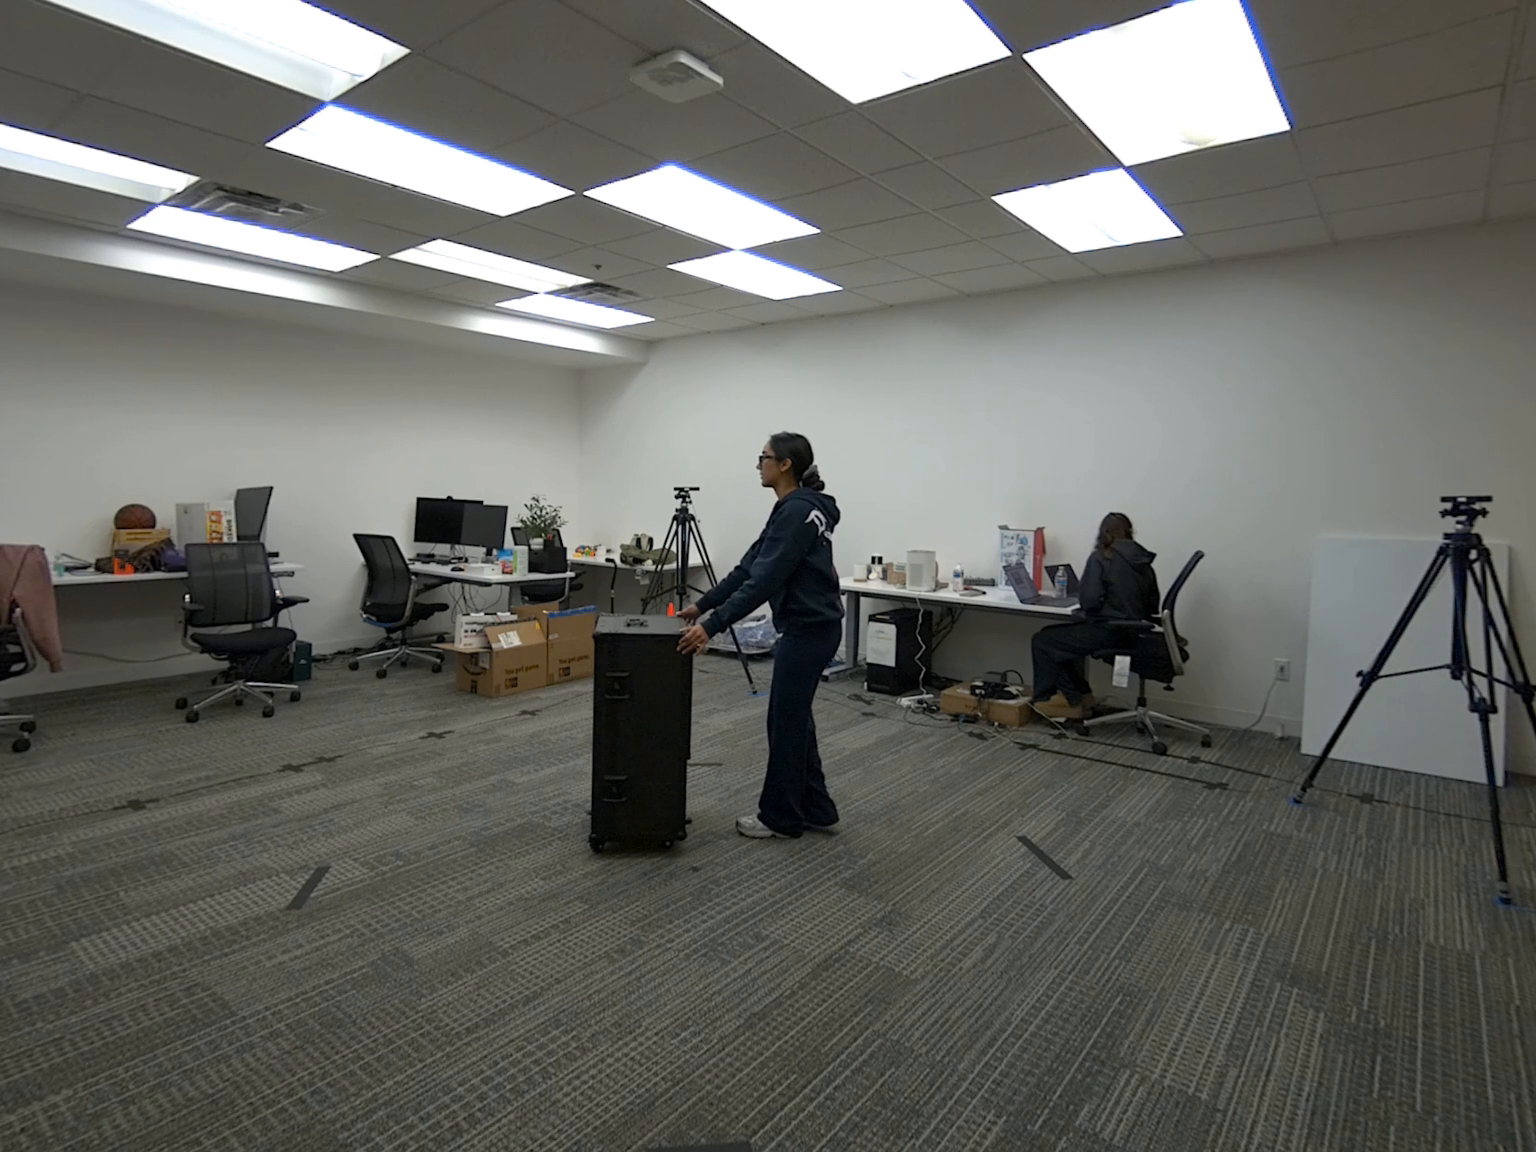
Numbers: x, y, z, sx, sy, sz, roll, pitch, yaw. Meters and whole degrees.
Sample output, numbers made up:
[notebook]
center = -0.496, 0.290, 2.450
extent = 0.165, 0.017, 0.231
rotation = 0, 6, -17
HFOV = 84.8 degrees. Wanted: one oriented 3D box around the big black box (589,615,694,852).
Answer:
[big black box]
center = -0.515, 0.610, 3.398
extent = 0.394, 0.860, 0.526
rotation = 2, 2, -7
